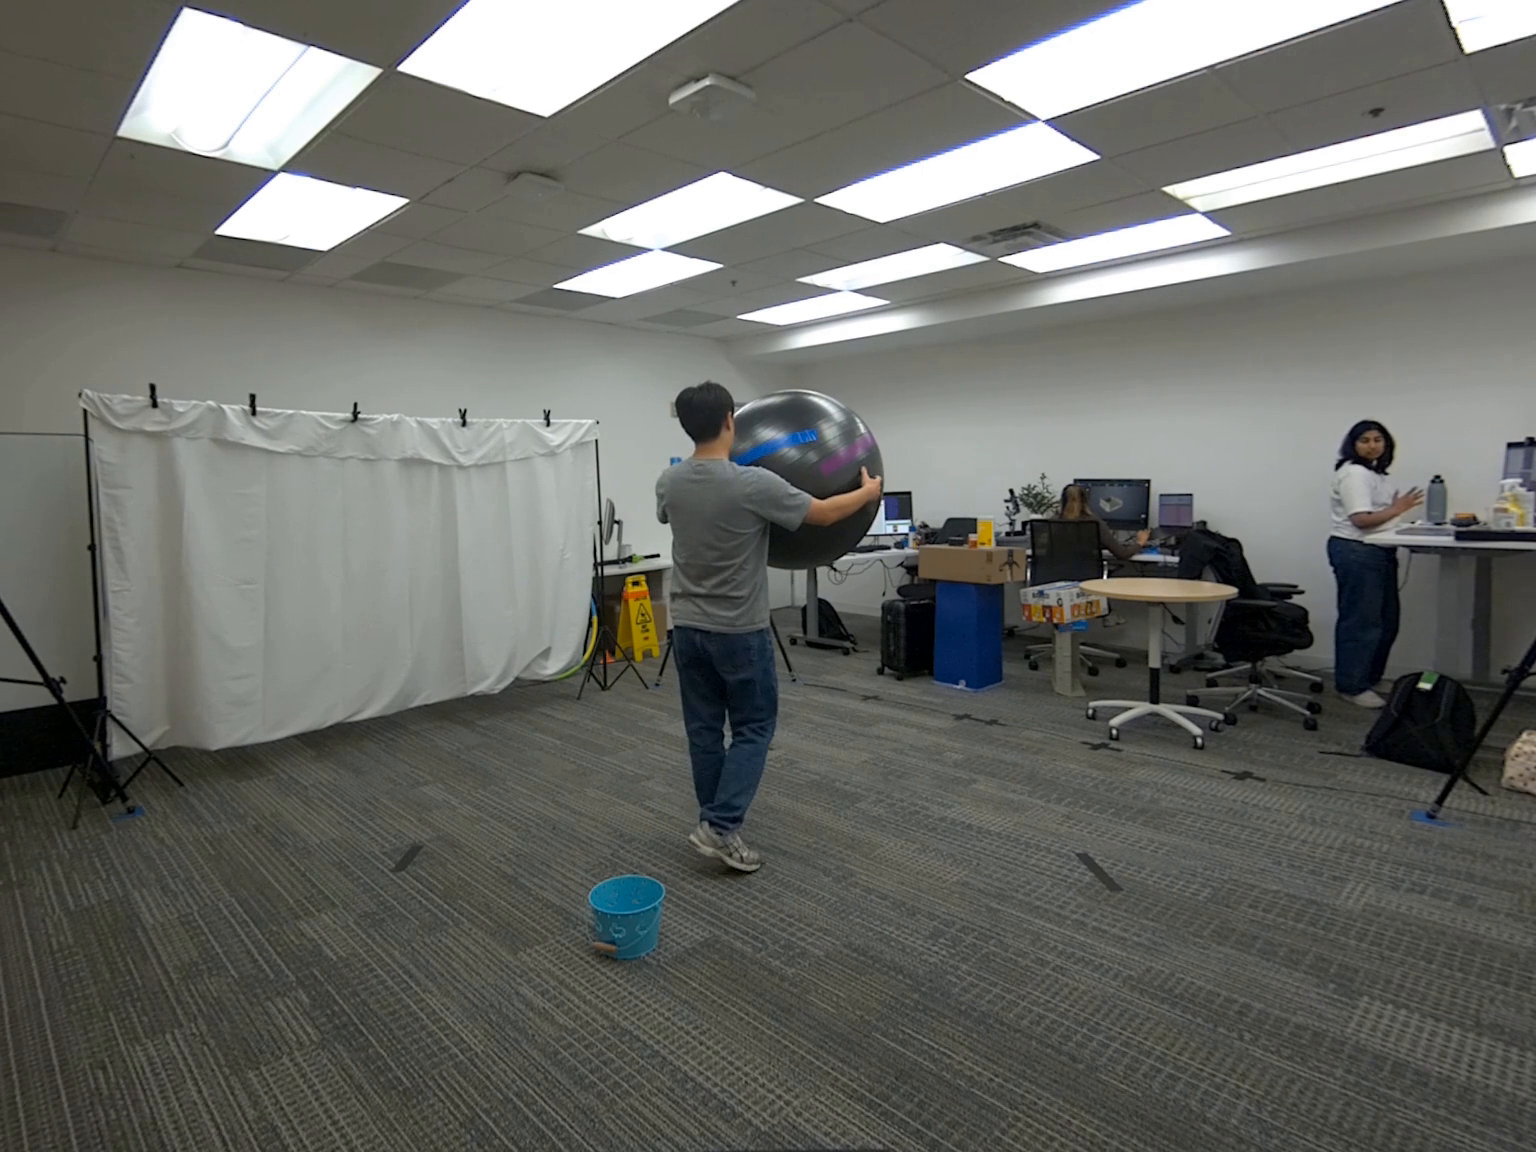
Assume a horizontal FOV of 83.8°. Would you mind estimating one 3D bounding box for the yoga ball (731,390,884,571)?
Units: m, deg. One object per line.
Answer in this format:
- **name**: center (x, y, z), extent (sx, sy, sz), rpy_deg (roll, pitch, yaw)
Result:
- **yoga ball**: center (0.113, -0.395, 3.627), extent (0.757, 0.755, 0.762), rpy_deg (-1, 5, -2)
